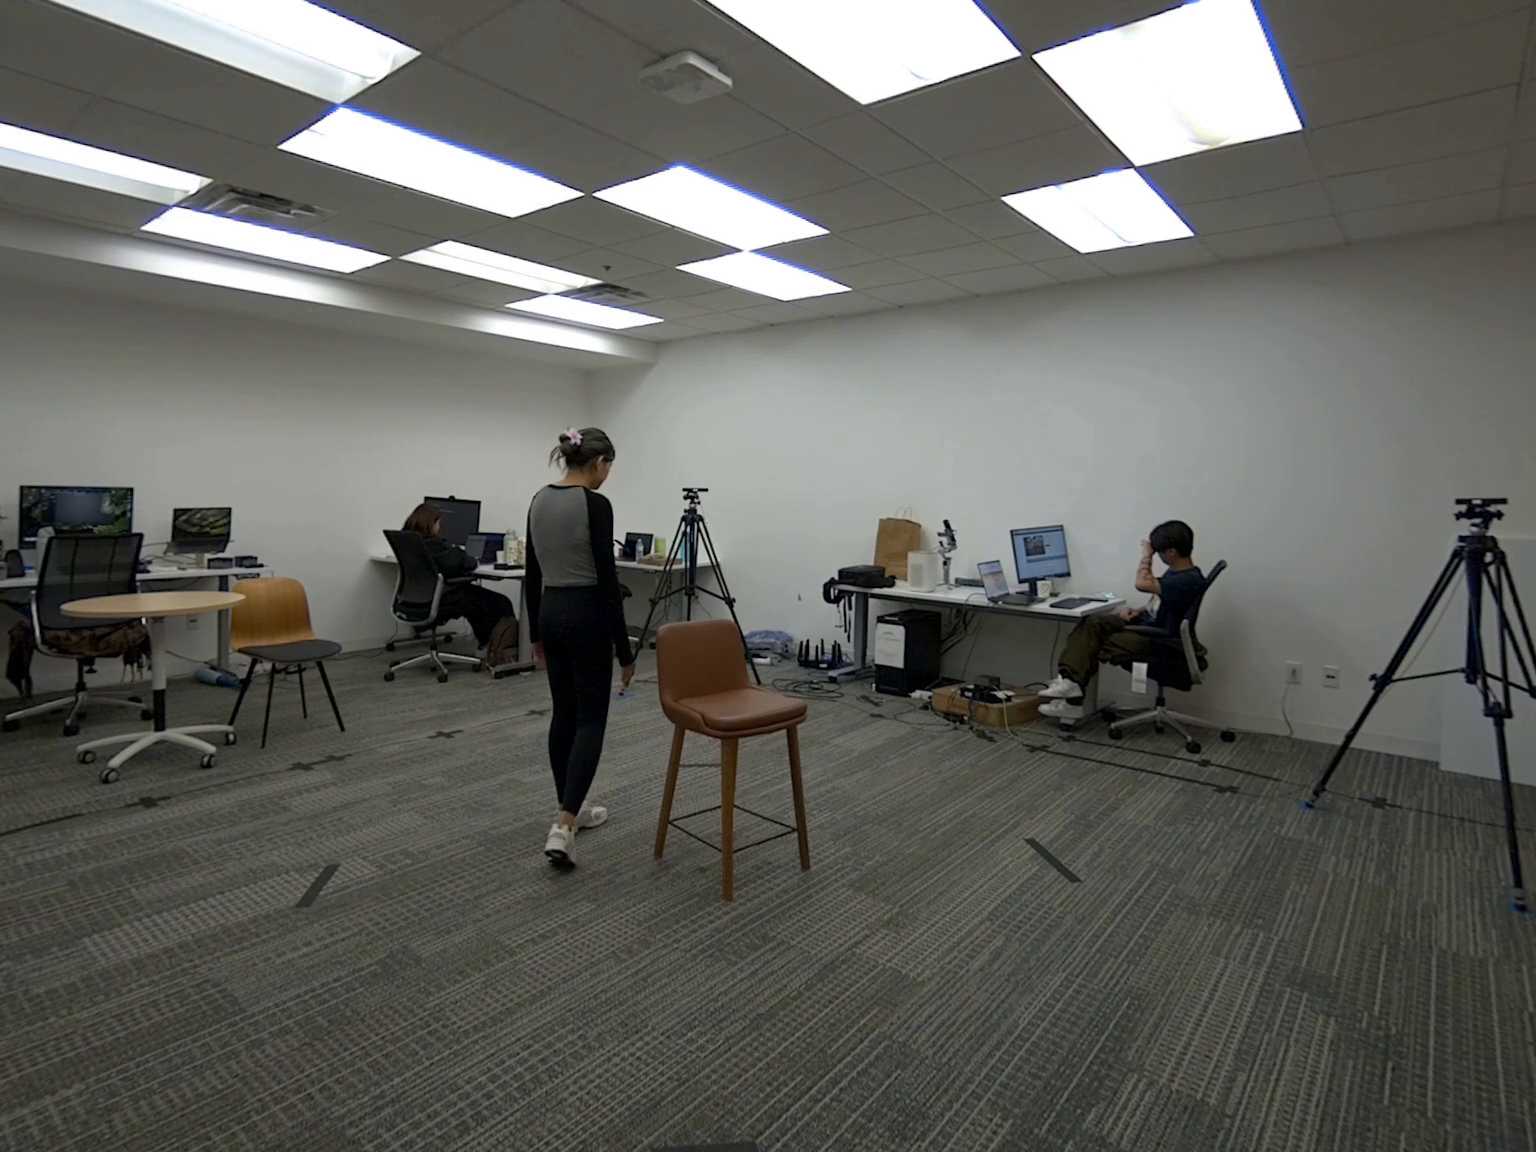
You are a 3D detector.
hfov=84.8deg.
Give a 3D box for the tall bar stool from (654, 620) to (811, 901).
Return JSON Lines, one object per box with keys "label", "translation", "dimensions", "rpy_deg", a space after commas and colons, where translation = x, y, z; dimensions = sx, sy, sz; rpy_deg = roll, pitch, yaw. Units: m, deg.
{"label": "tall bar stool", "translation": [-0.149, 0.629, 3.148], "dimensions": [0.442, 0.889, 0.483], "rpy_deg": [-2, 2, -43]}
